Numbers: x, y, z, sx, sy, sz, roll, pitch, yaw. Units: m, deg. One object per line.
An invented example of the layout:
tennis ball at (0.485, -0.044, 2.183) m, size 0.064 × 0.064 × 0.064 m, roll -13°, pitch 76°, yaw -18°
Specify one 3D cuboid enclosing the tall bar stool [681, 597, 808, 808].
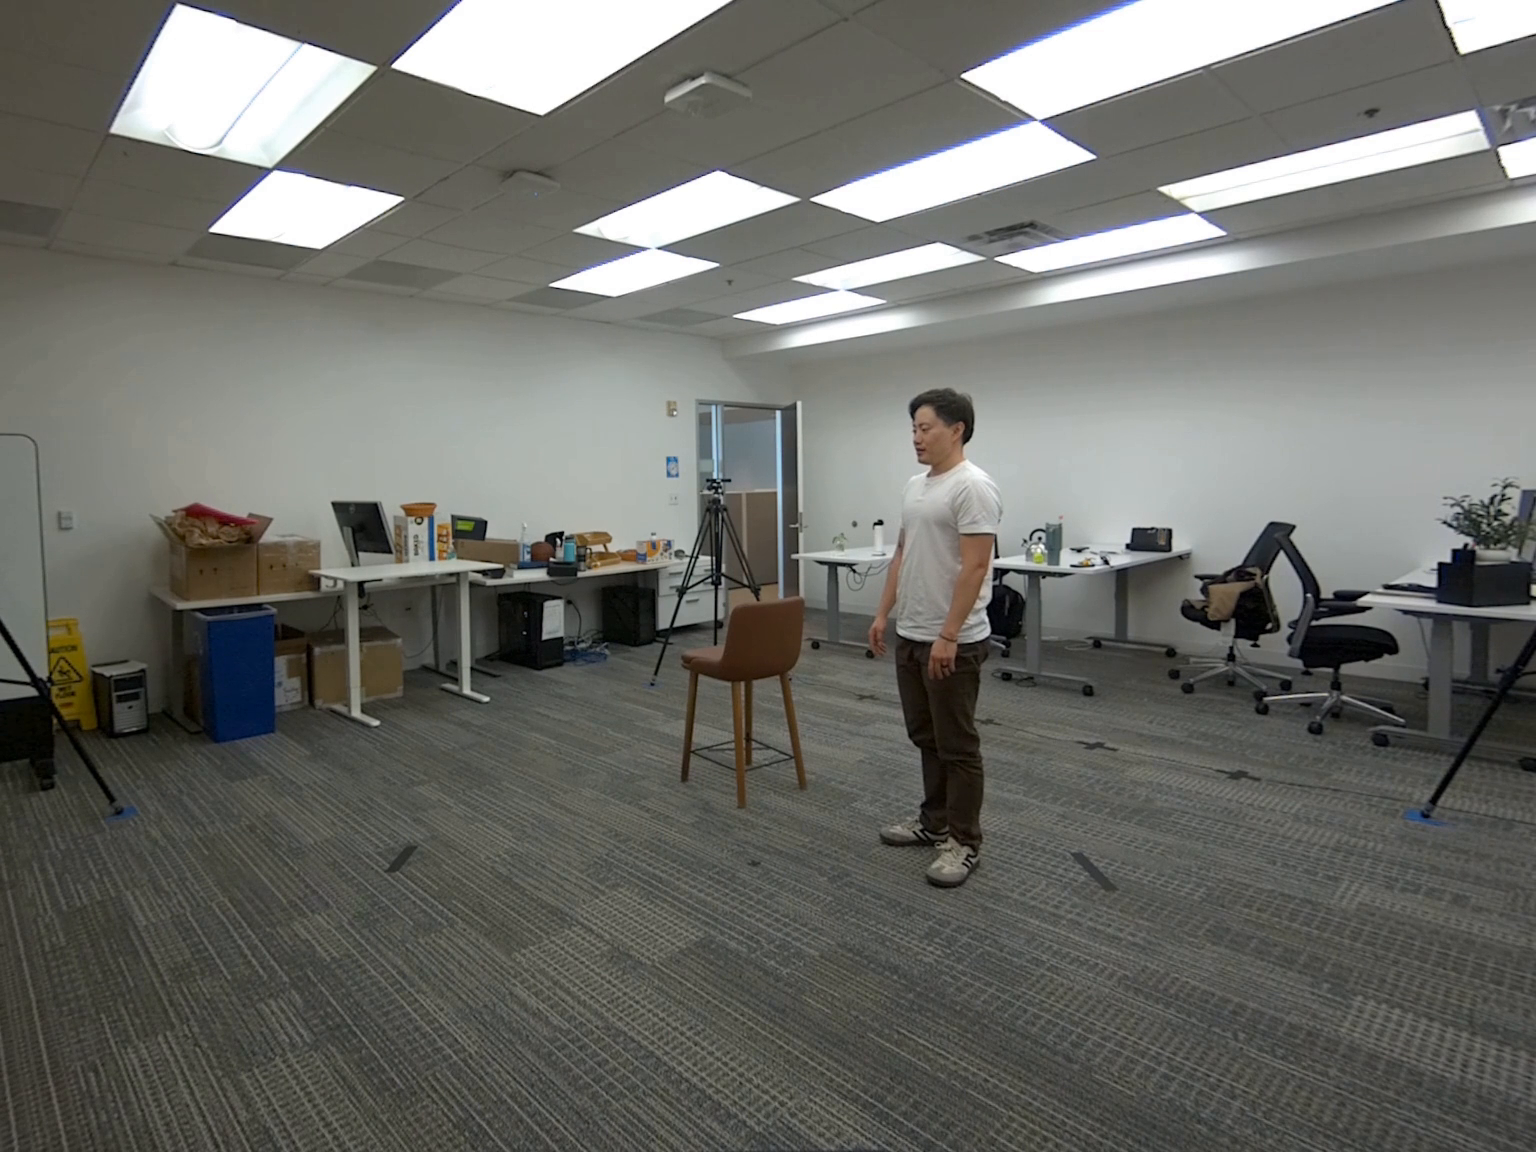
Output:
tall bar stool at (-0.114, 0.524, 3.890) m, size 0.444 × 0.886 × 0.482 m, roll -4°, pitch 6°, yaw -38°
